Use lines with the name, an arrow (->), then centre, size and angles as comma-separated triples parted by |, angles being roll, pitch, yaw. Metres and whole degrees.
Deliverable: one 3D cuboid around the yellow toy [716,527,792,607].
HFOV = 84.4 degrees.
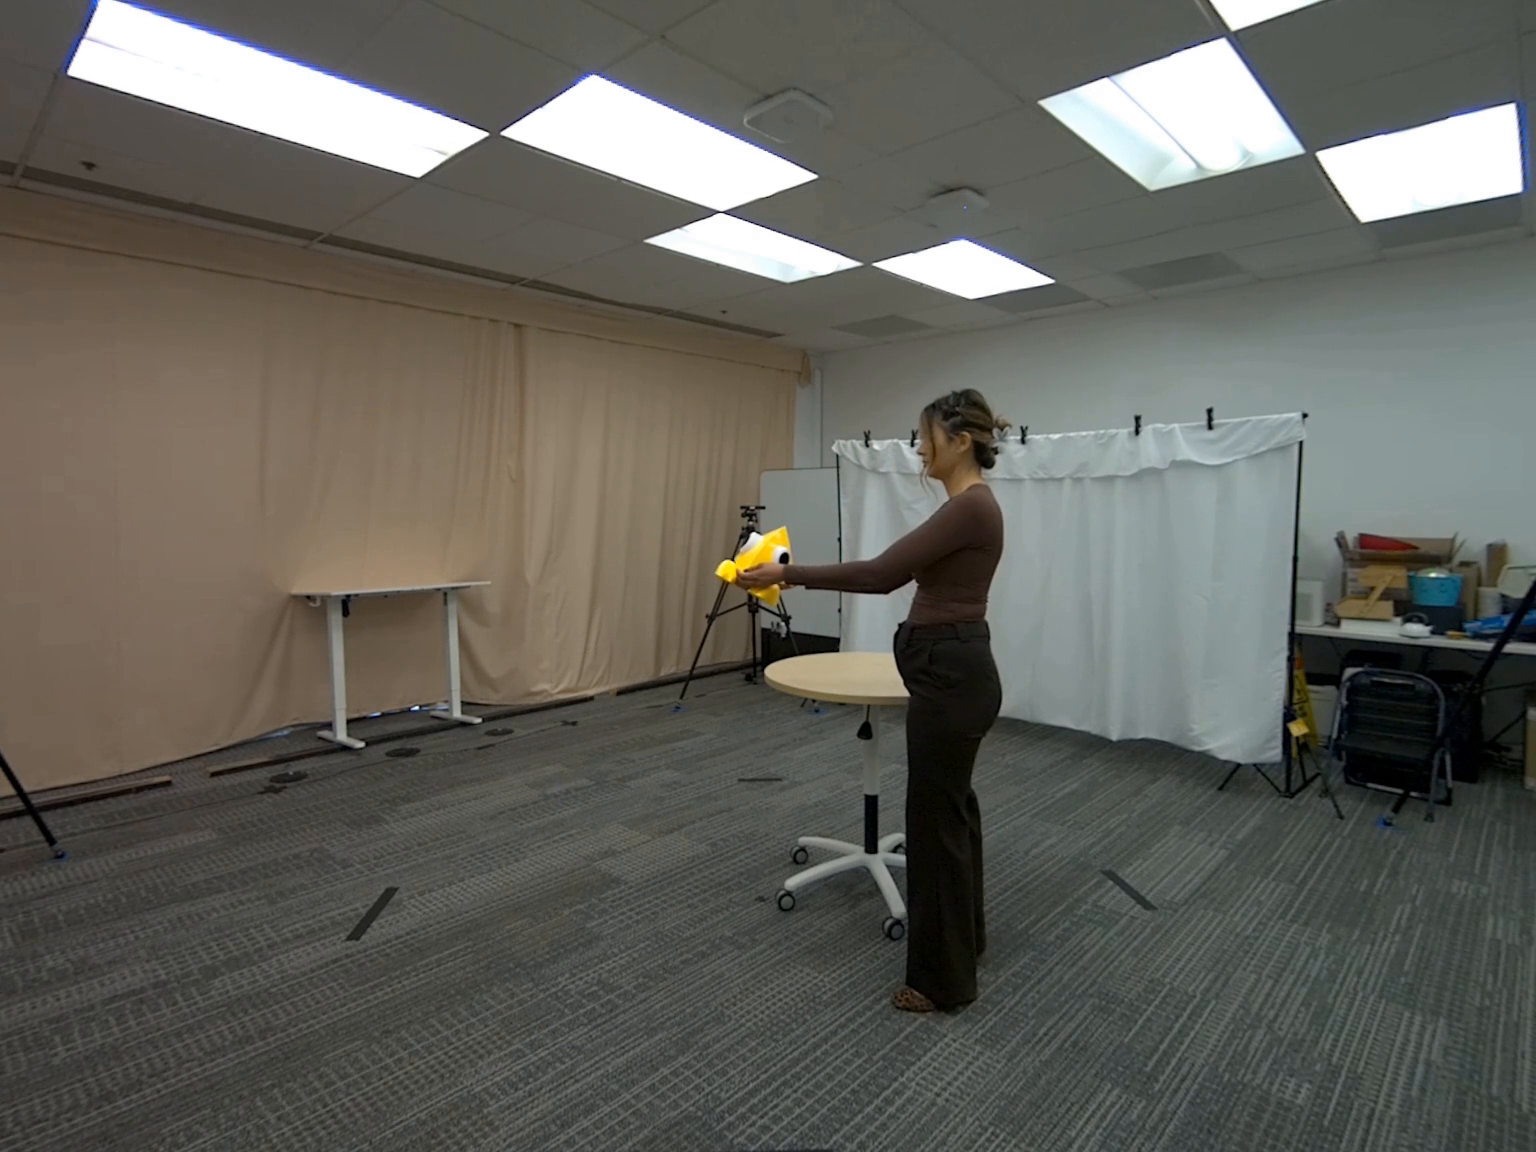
yellow toy -> -0.007, -0.056, 2.484 | 0.209, 0.231, 0.189 | 27, -3, 18
